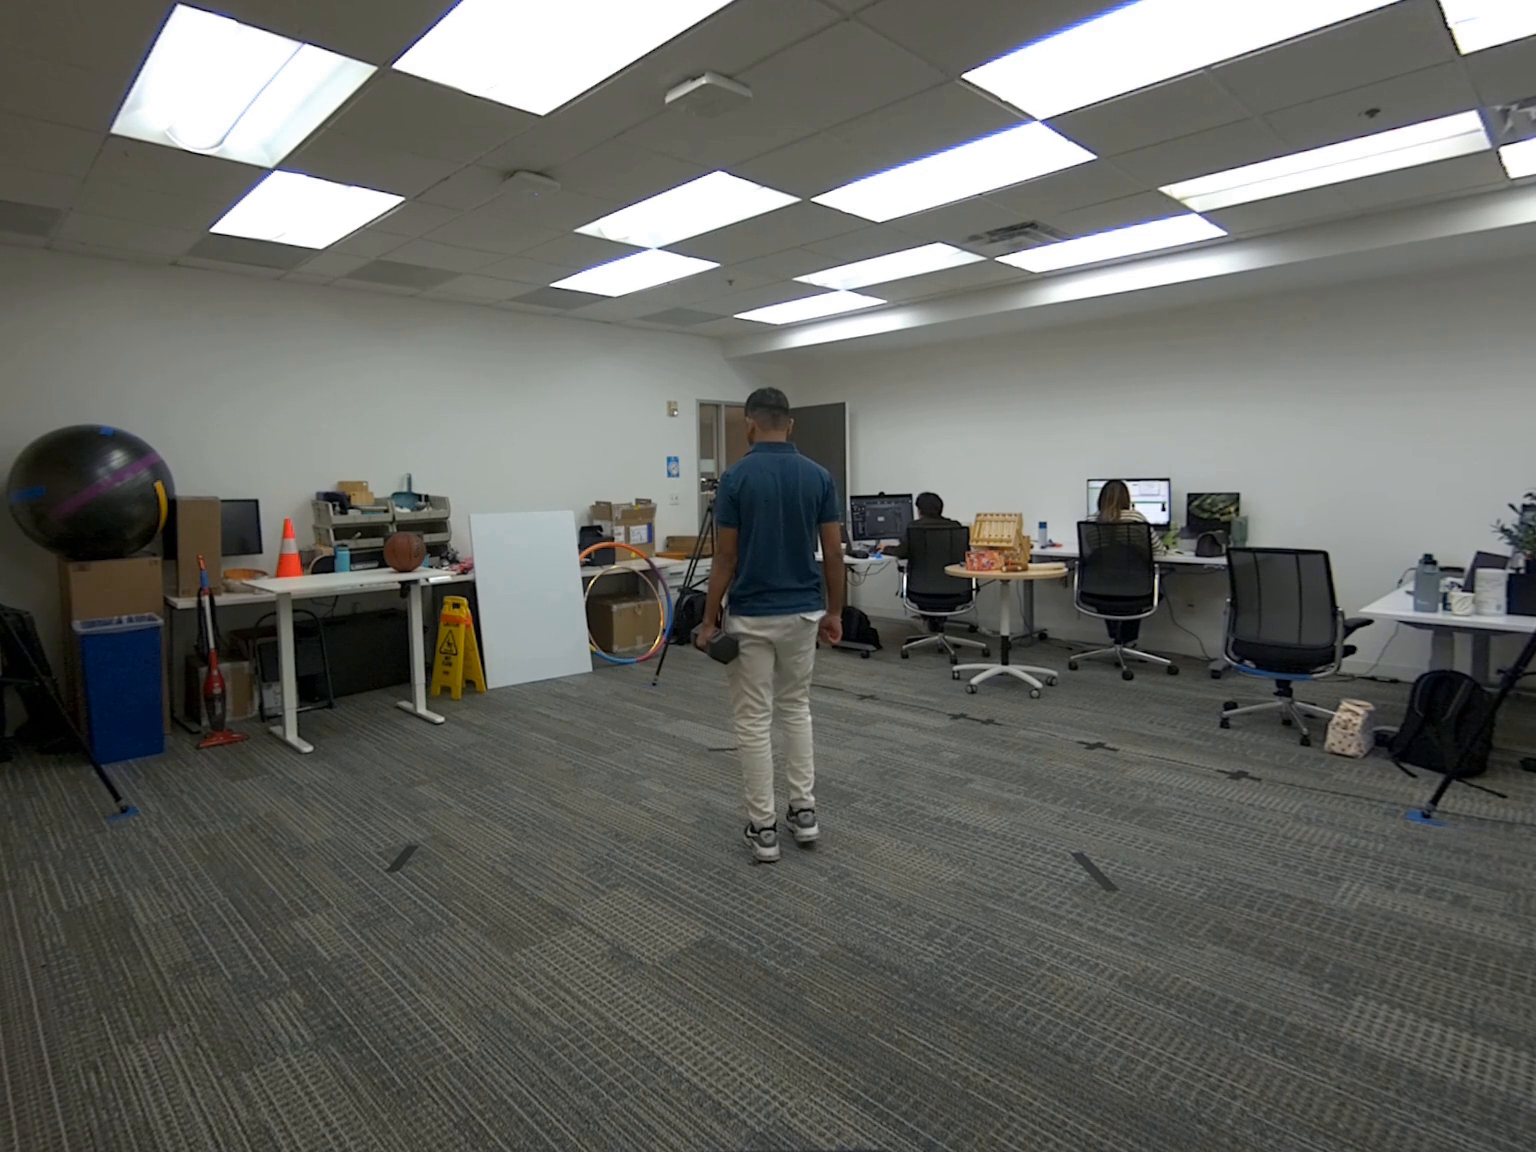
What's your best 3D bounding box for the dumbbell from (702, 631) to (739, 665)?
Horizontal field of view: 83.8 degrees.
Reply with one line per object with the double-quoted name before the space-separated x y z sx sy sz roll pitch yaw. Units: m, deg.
"dumbbell" -0.193 0.246 3.242 0.107 0.122 0.300 -4 6 -21
